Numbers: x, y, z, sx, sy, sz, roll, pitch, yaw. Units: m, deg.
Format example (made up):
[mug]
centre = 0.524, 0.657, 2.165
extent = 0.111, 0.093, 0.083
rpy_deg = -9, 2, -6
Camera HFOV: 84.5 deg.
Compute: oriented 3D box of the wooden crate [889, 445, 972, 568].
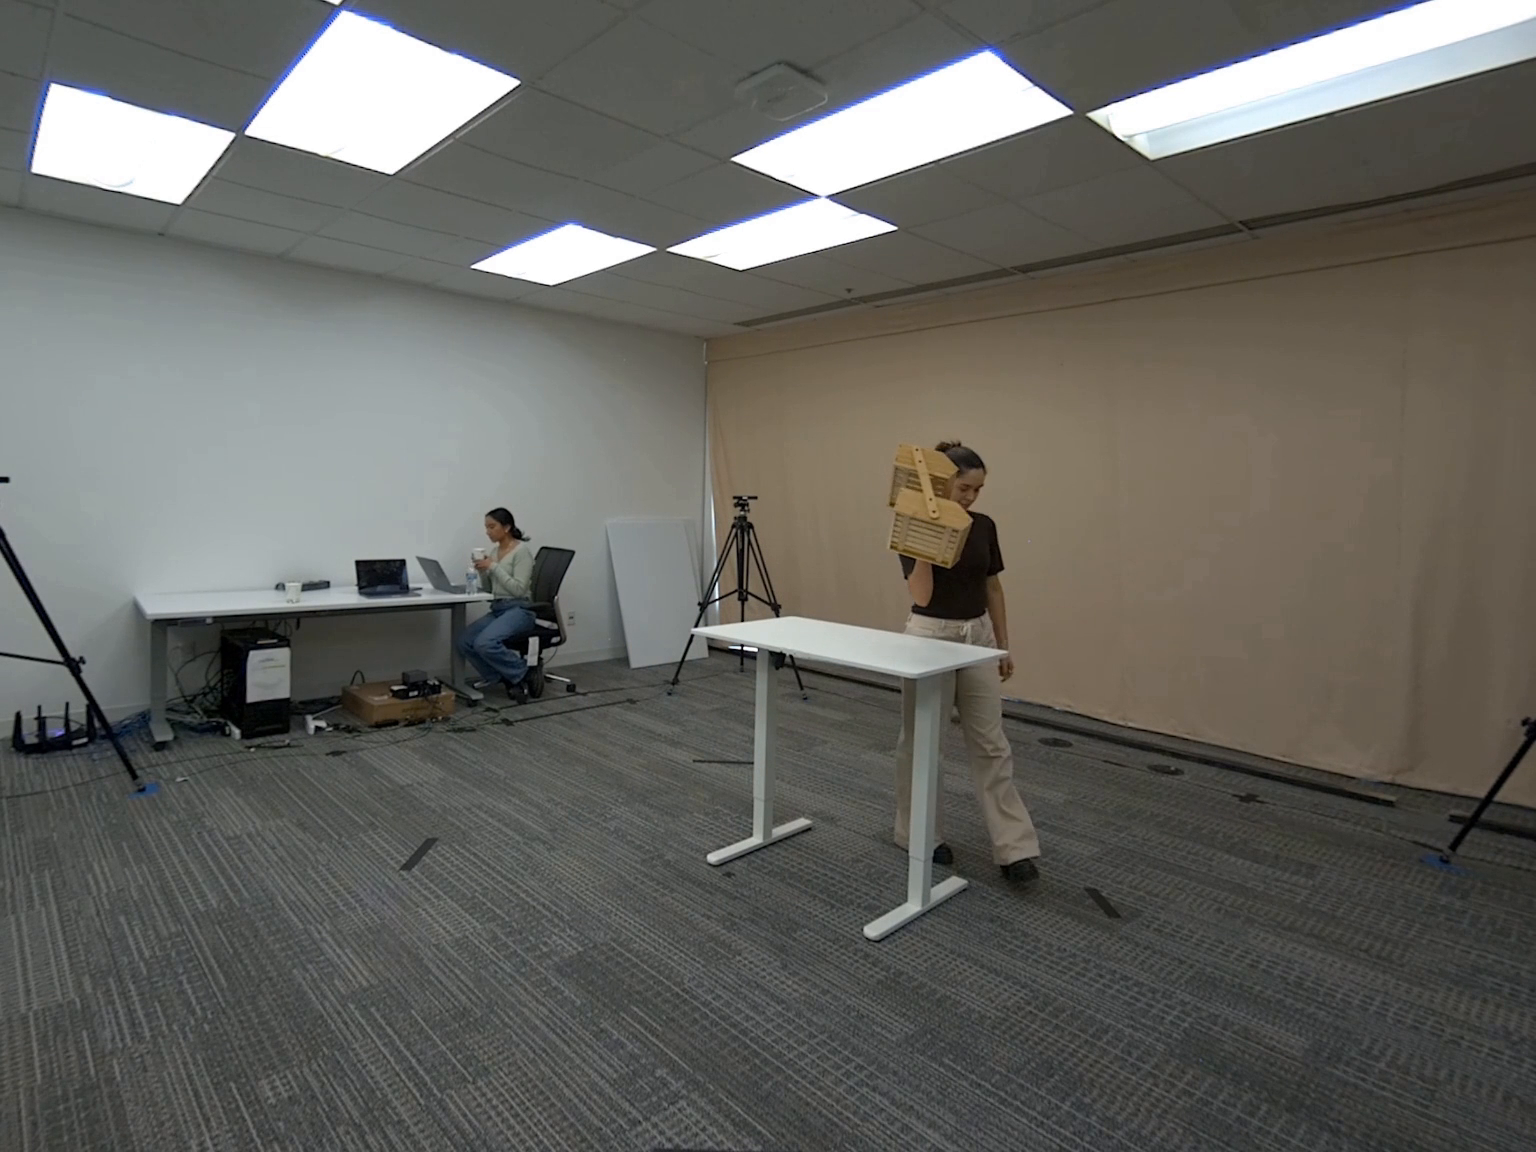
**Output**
[wooden crate]
centre = 0.560, -0.241, 2.901
extent = 0.306, 0.275, 0.318
rpy_deg = 18, -22, 12
